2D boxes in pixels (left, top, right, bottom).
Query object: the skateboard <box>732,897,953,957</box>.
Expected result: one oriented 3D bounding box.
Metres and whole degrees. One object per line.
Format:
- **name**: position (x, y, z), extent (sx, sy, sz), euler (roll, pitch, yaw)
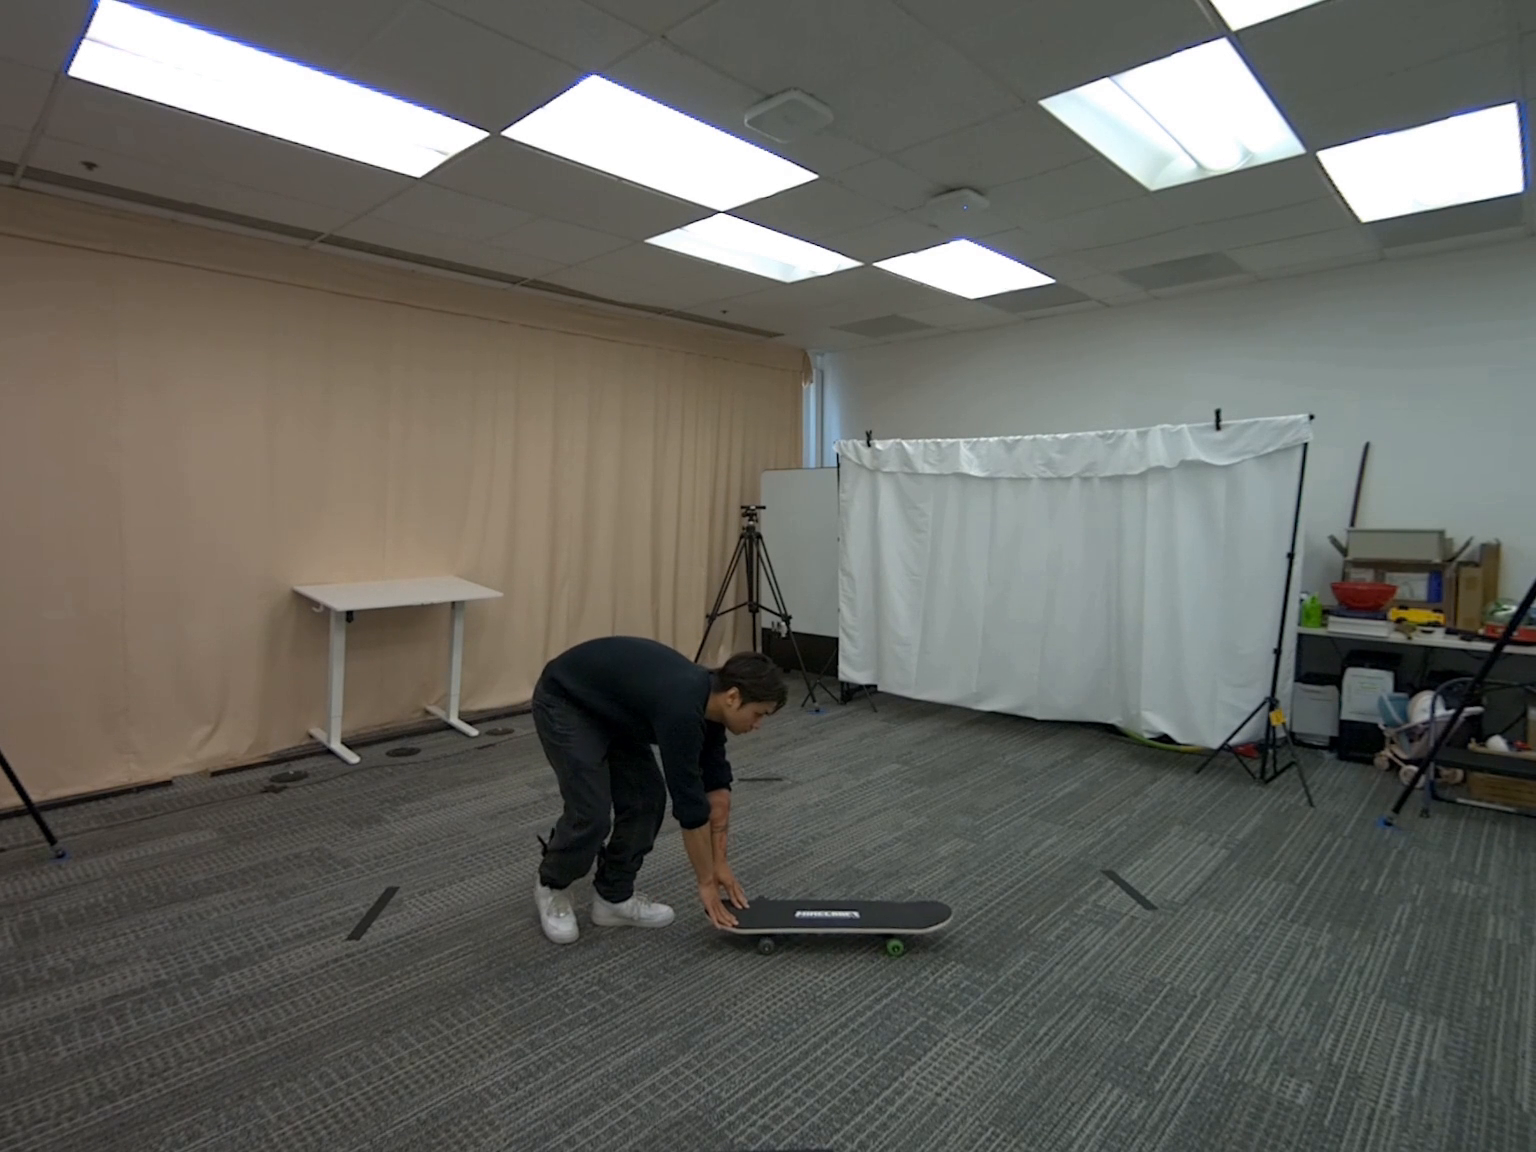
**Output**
- **skateboard**: position (0.201, 1.115, 2.679), extent (0.786, 0.110, 0.194), euler (0, 5, 1)
